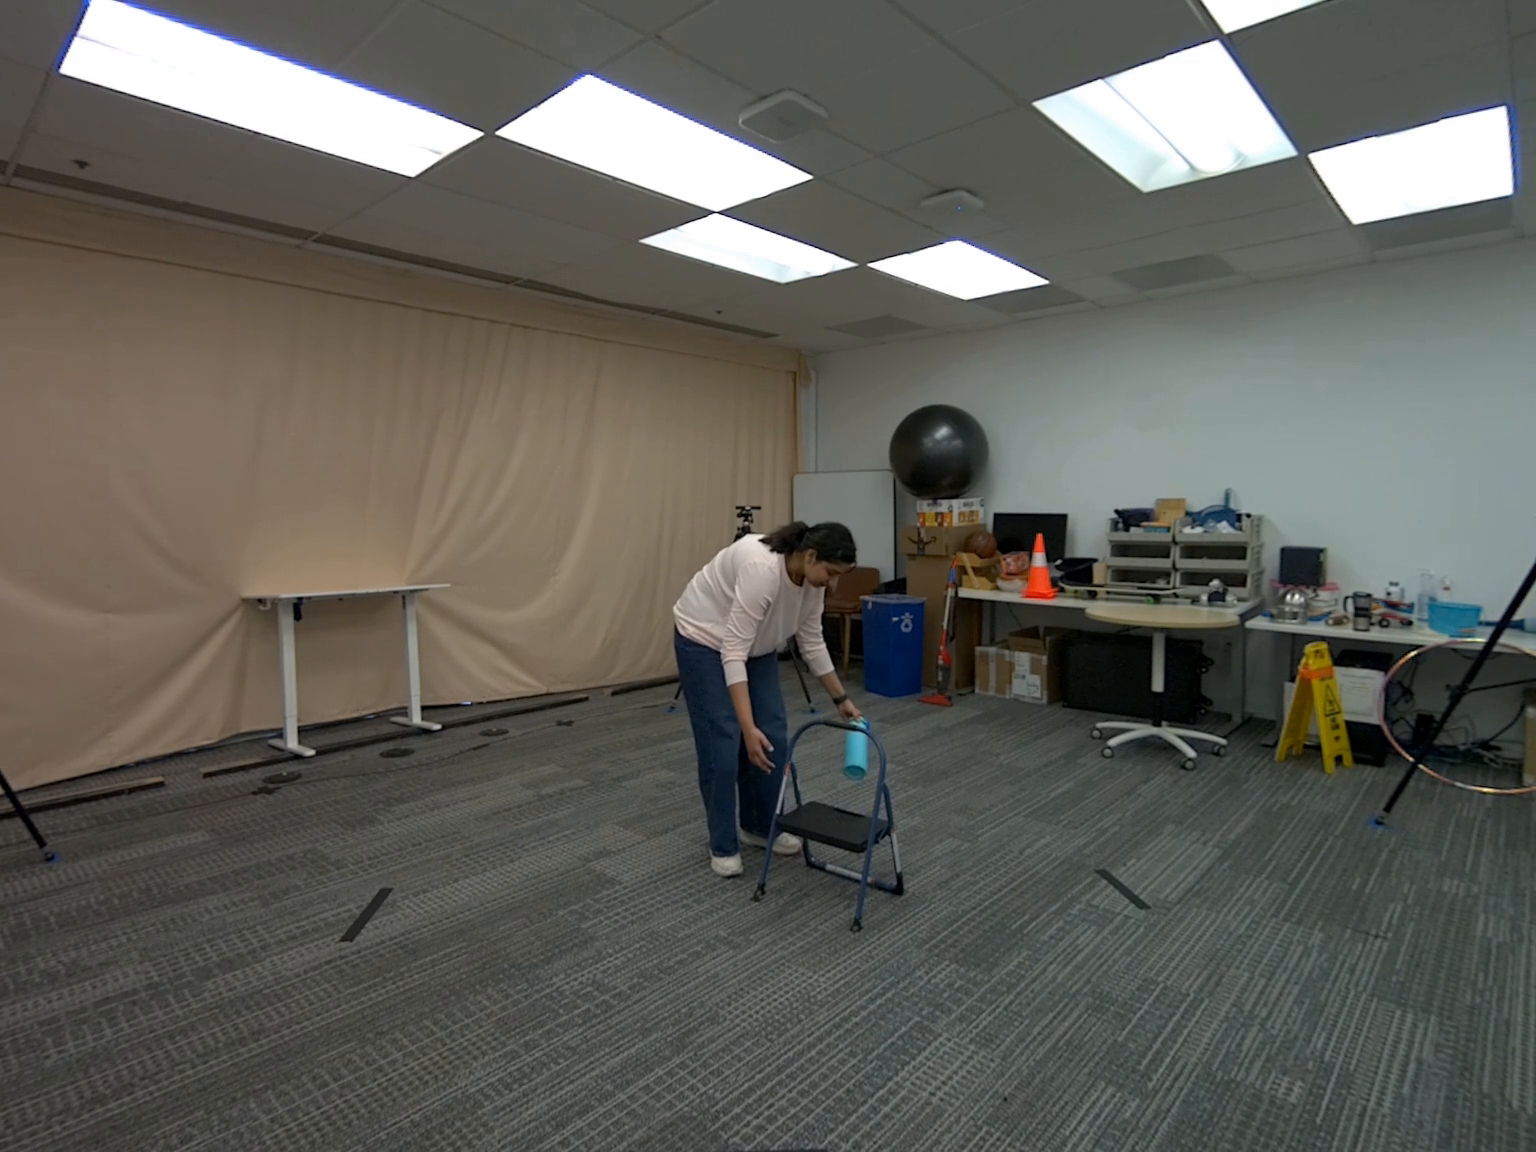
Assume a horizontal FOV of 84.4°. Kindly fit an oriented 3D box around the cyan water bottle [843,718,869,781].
[{"bbox_3d":[0.345,0.653,3.272,0.093,0.090,0.286,0,39,12],"label":"cyan water bottle"}]
